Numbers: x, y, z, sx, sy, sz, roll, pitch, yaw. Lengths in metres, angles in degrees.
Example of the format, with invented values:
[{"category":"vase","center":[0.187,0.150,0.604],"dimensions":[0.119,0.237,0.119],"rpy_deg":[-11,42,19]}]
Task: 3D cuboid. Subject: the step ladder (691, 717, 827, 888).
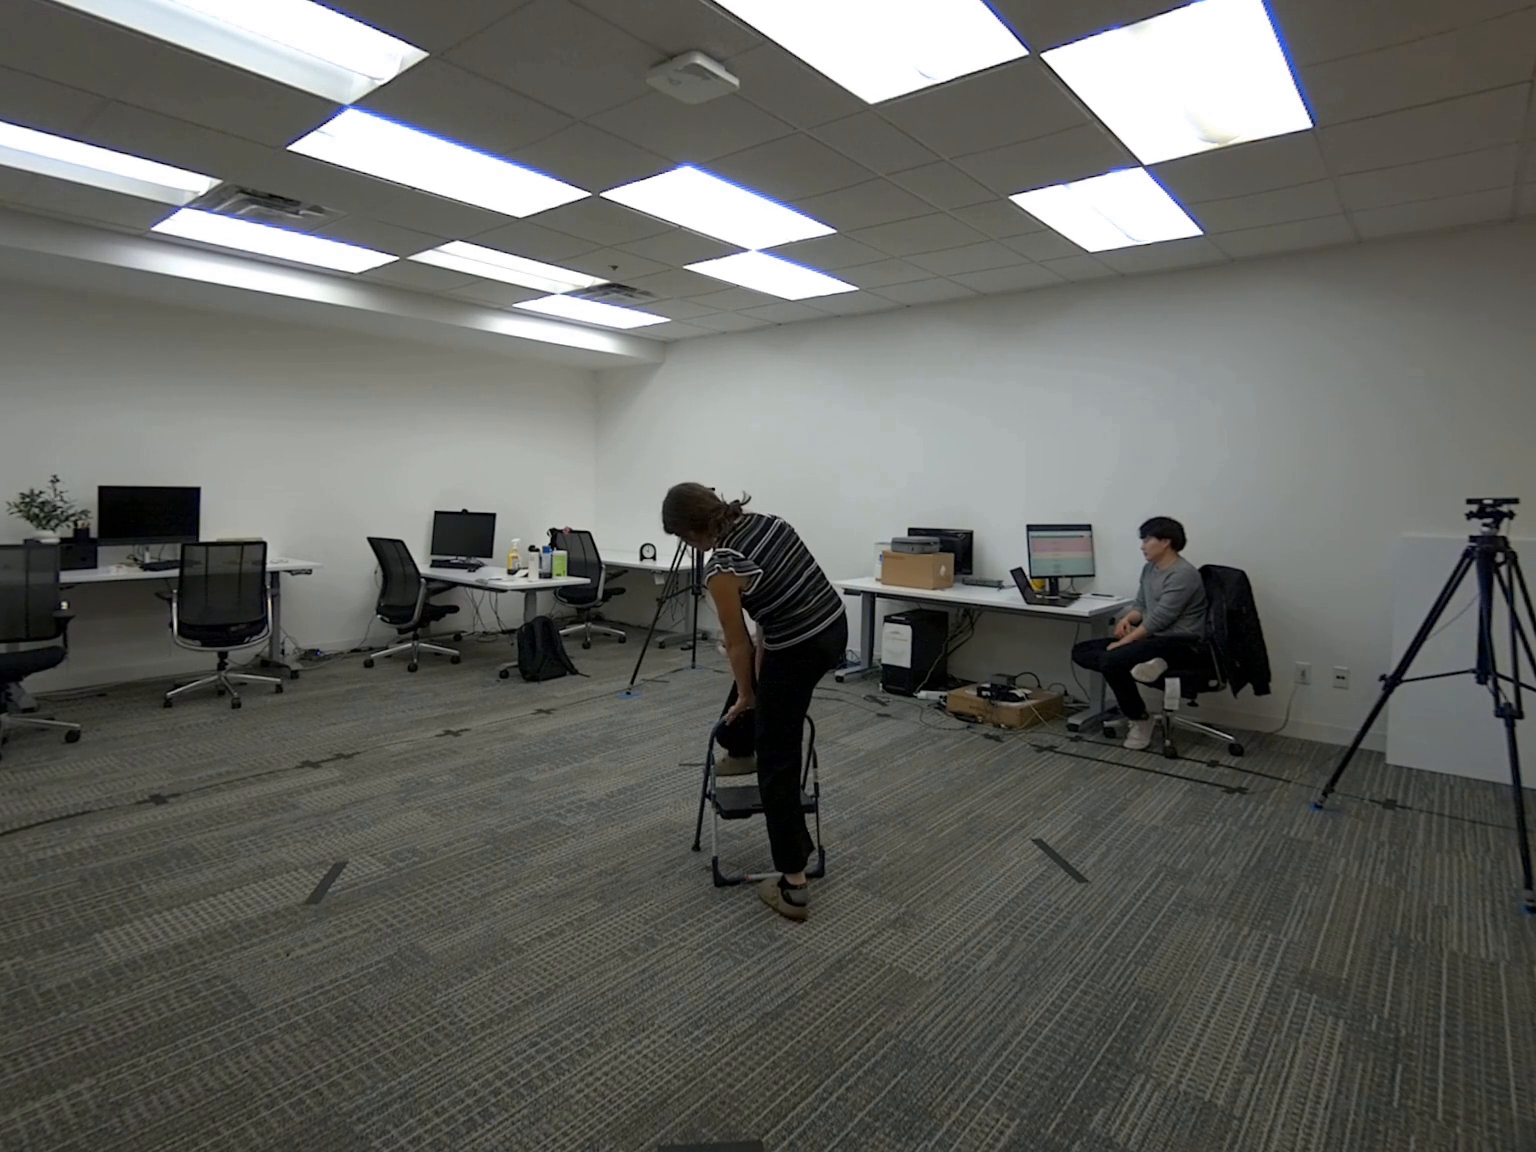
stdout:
[{"category":"step ladder","center":[-0.042,0.762,3.160],"dimensions":[0.423,0.604,0.356],"rpy_deg":[0,3,-17]}]
